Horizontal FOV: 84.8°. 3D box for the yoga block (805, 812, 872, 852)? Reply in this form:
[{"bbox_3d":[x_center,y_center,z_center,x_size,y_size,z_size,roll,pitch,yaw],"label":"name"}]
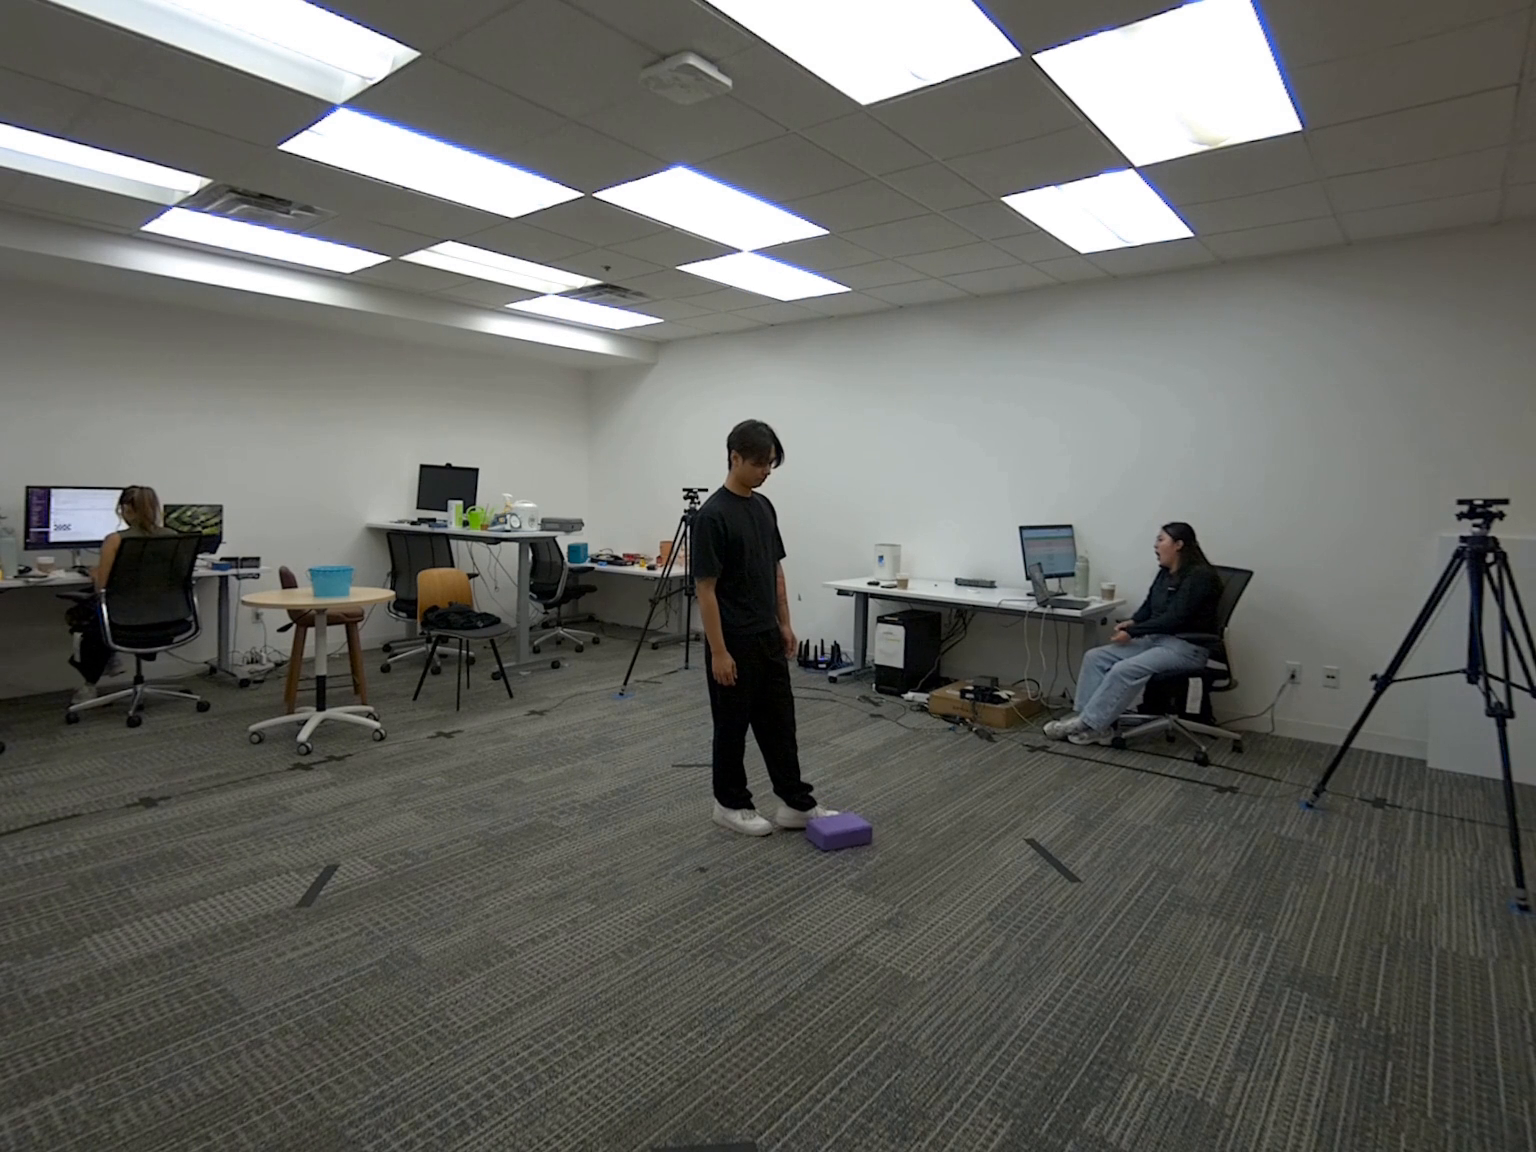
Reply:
[{"bbox_3d":[0.272,1.009,3.387,0.224,0.076,0.153,-1,8,-26],"label":"yoga block"}]
